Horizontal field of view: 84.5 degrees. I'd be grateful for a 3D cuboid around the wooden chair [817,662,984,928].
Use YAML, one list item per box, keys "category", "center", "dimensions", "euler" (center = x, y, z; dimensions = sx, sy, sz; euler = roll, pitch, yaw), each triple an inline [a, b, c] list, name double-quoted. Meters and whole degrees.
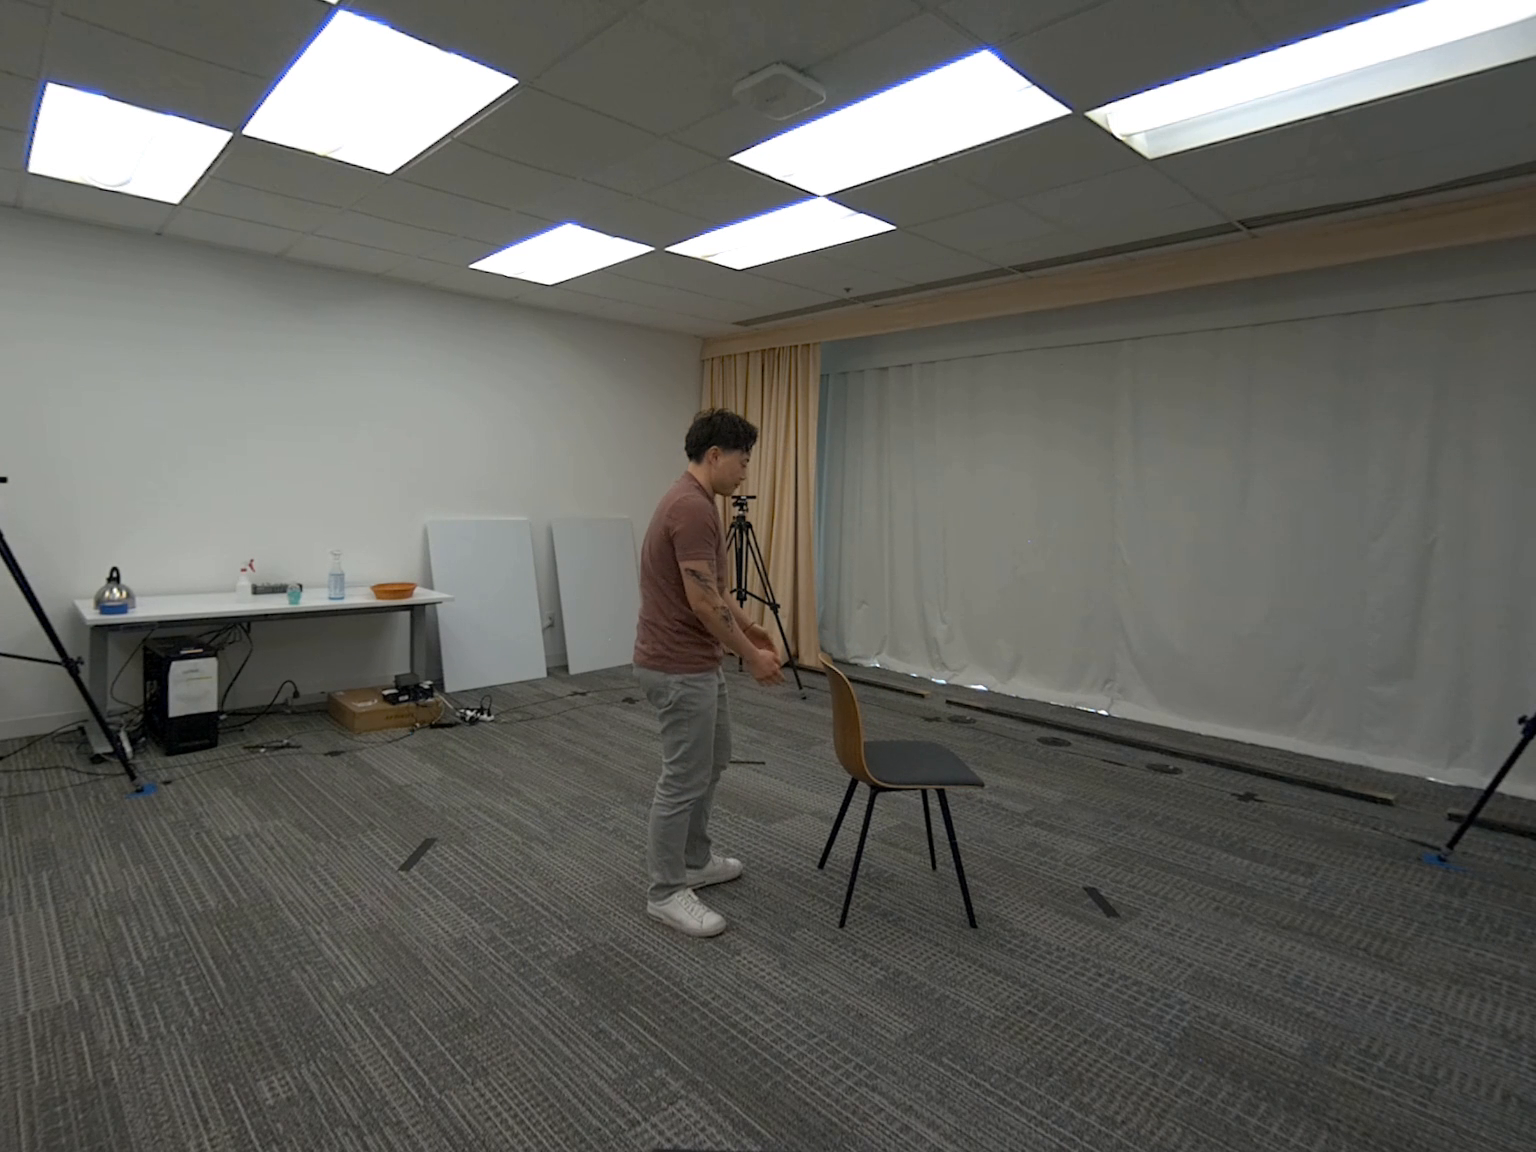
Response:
- category: "wooden chair"
  center: [0.447, 0.704, 2.936]
  dimensions: [0.522, 0.875, 0.480]
  euler: [-3, 3, -4]
